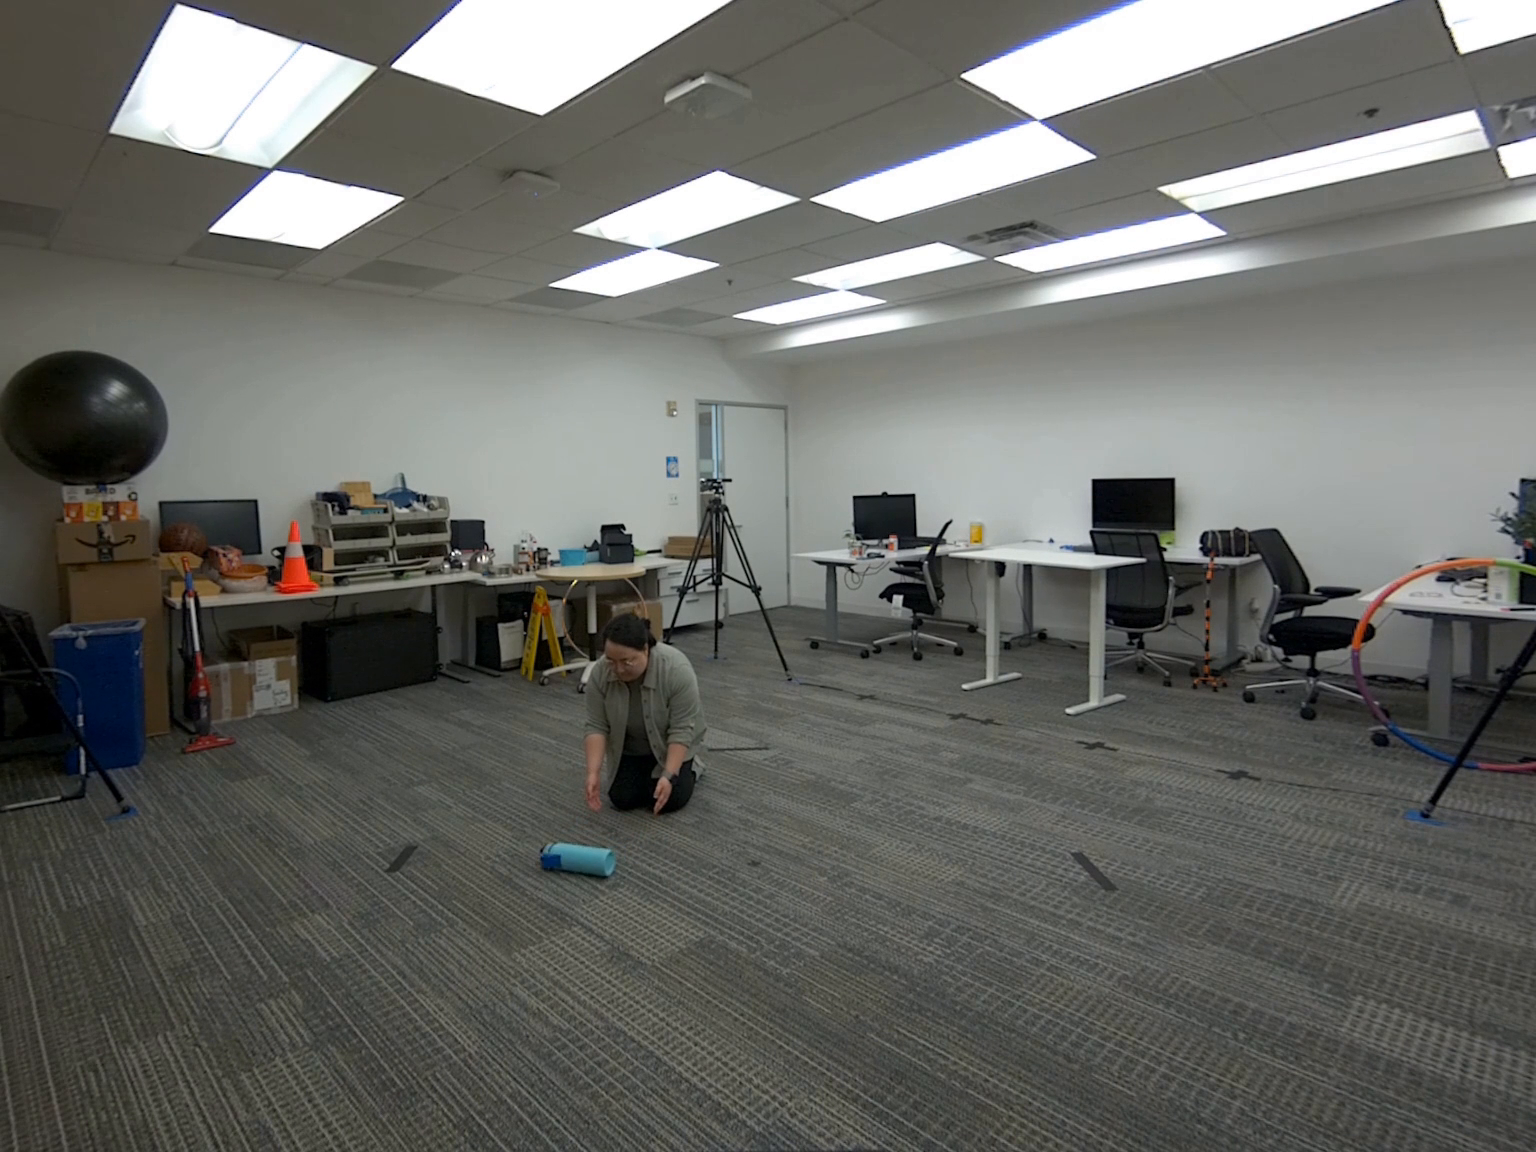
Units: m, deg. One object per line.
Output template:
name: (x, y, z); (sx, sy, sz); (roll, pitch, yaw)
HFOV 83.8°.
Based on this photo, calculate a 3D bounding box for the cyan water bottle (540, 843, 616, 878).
cyan water bottle: (-0.697, 1.017, 3.075); (0.288, 0.092, 0.091); (1, 5, 19)
